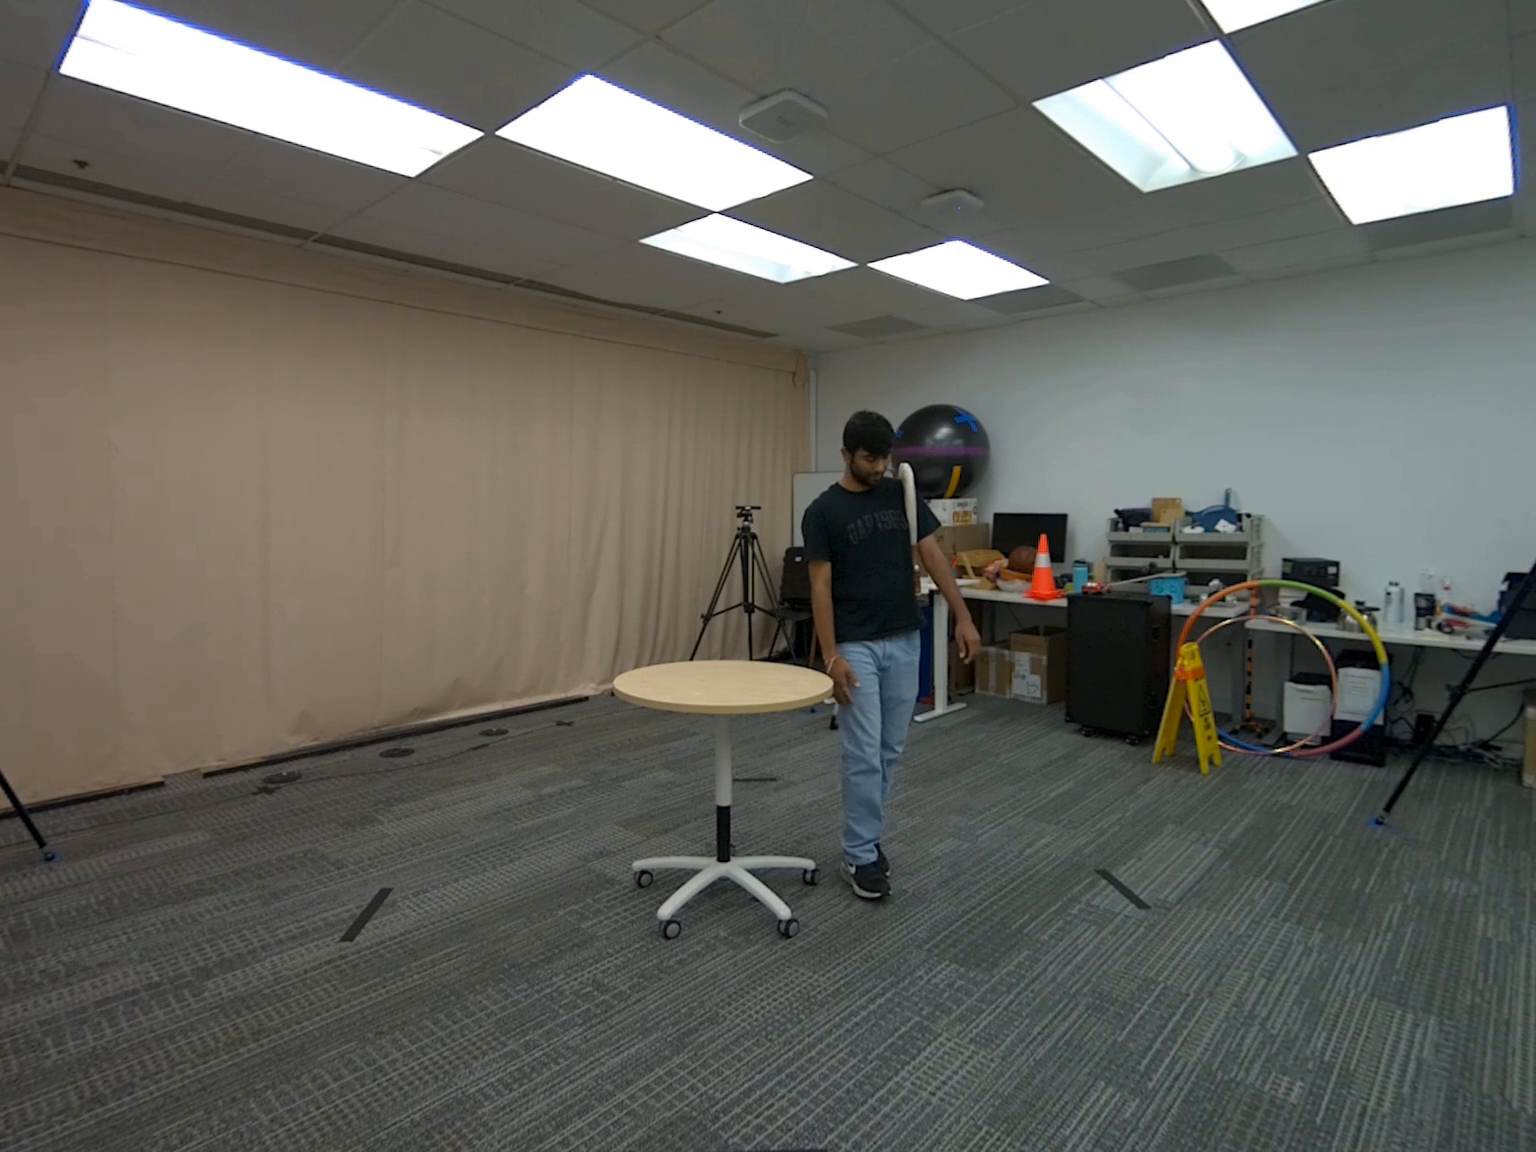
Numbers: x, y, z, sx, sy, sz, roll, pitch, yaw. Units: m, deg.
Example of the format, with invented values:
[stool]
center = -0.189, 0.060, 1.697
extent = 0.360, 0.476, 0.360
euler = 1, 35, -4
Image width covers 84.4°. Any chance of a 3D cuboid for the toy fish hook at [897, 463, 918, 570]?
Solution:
[toy fish hook]
center = 0.554, -0.175, 3.223
extent = 0.048, 0.505, 0.224
euler = -6, 4, 3
